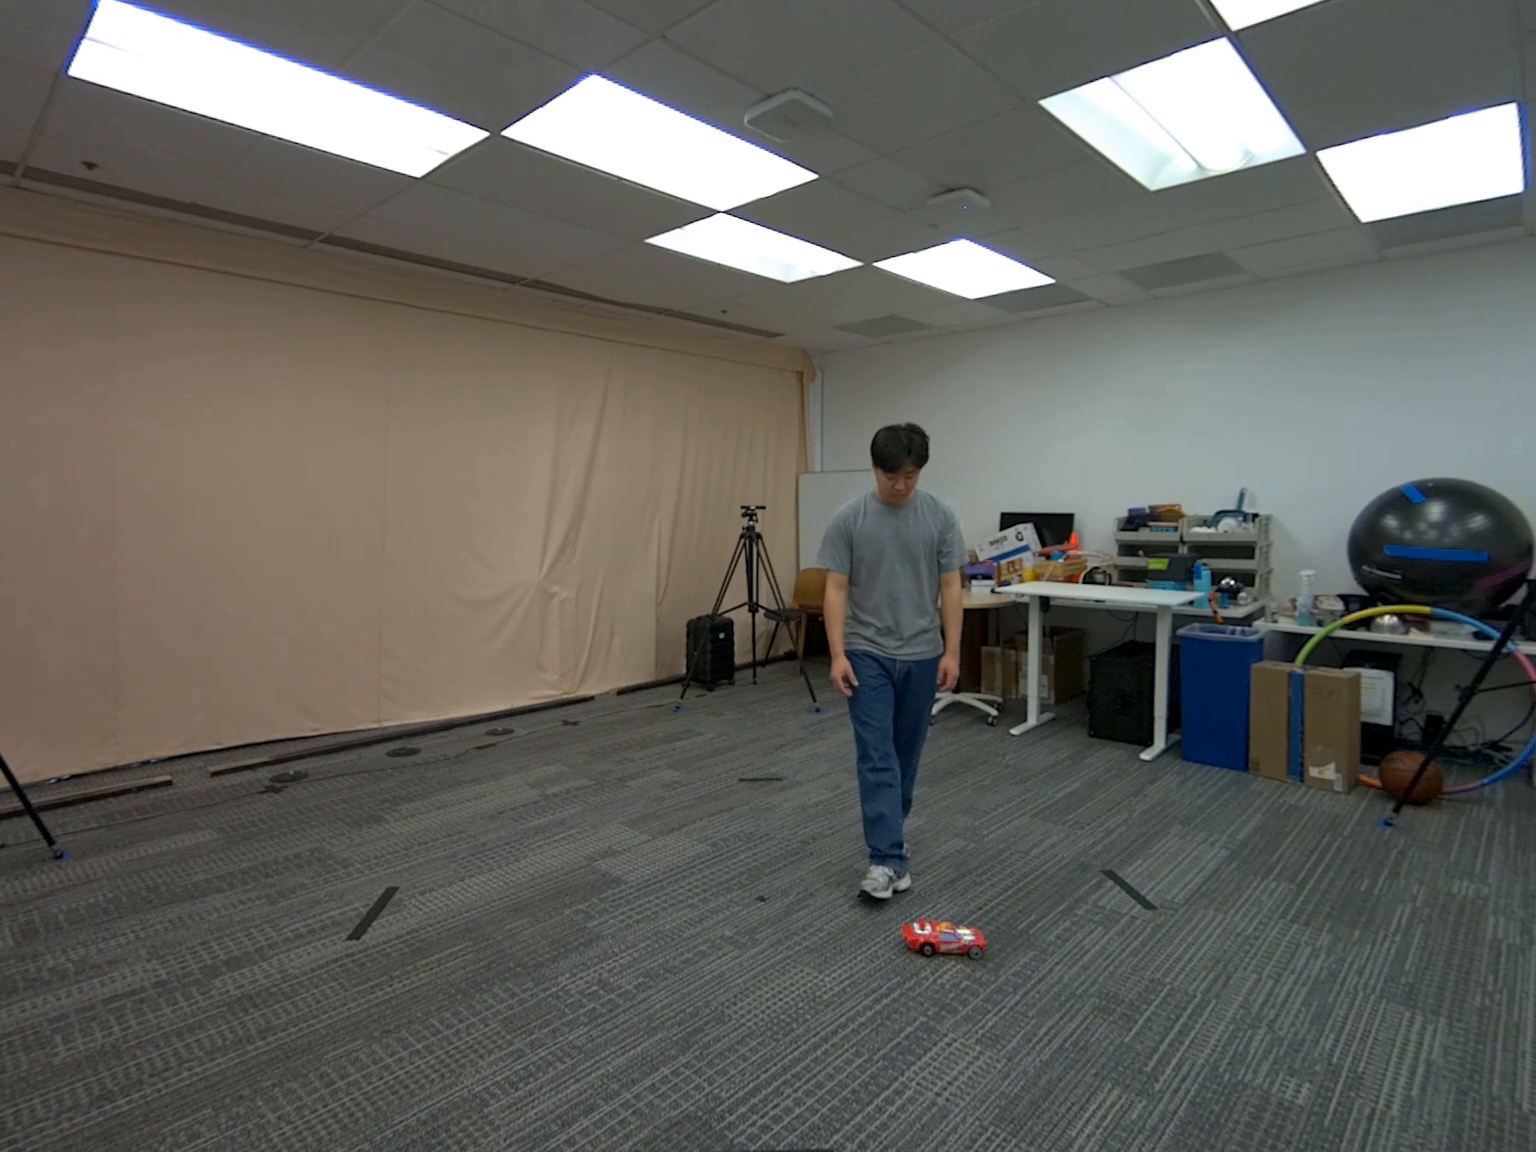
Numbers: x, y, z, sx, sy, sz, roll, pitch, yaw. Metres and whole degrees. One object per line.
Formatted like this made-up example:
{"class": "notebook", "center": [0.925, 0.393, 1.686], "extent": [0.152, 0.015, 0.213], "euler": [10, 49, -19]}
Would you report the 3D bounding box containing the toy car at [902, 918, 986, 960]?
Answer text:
{"class": "toy car", "center": [0.545, 1.135, 2.642], "extent": [0.256, 0.083, 0.130], "euler": [11, 6, 3]}
